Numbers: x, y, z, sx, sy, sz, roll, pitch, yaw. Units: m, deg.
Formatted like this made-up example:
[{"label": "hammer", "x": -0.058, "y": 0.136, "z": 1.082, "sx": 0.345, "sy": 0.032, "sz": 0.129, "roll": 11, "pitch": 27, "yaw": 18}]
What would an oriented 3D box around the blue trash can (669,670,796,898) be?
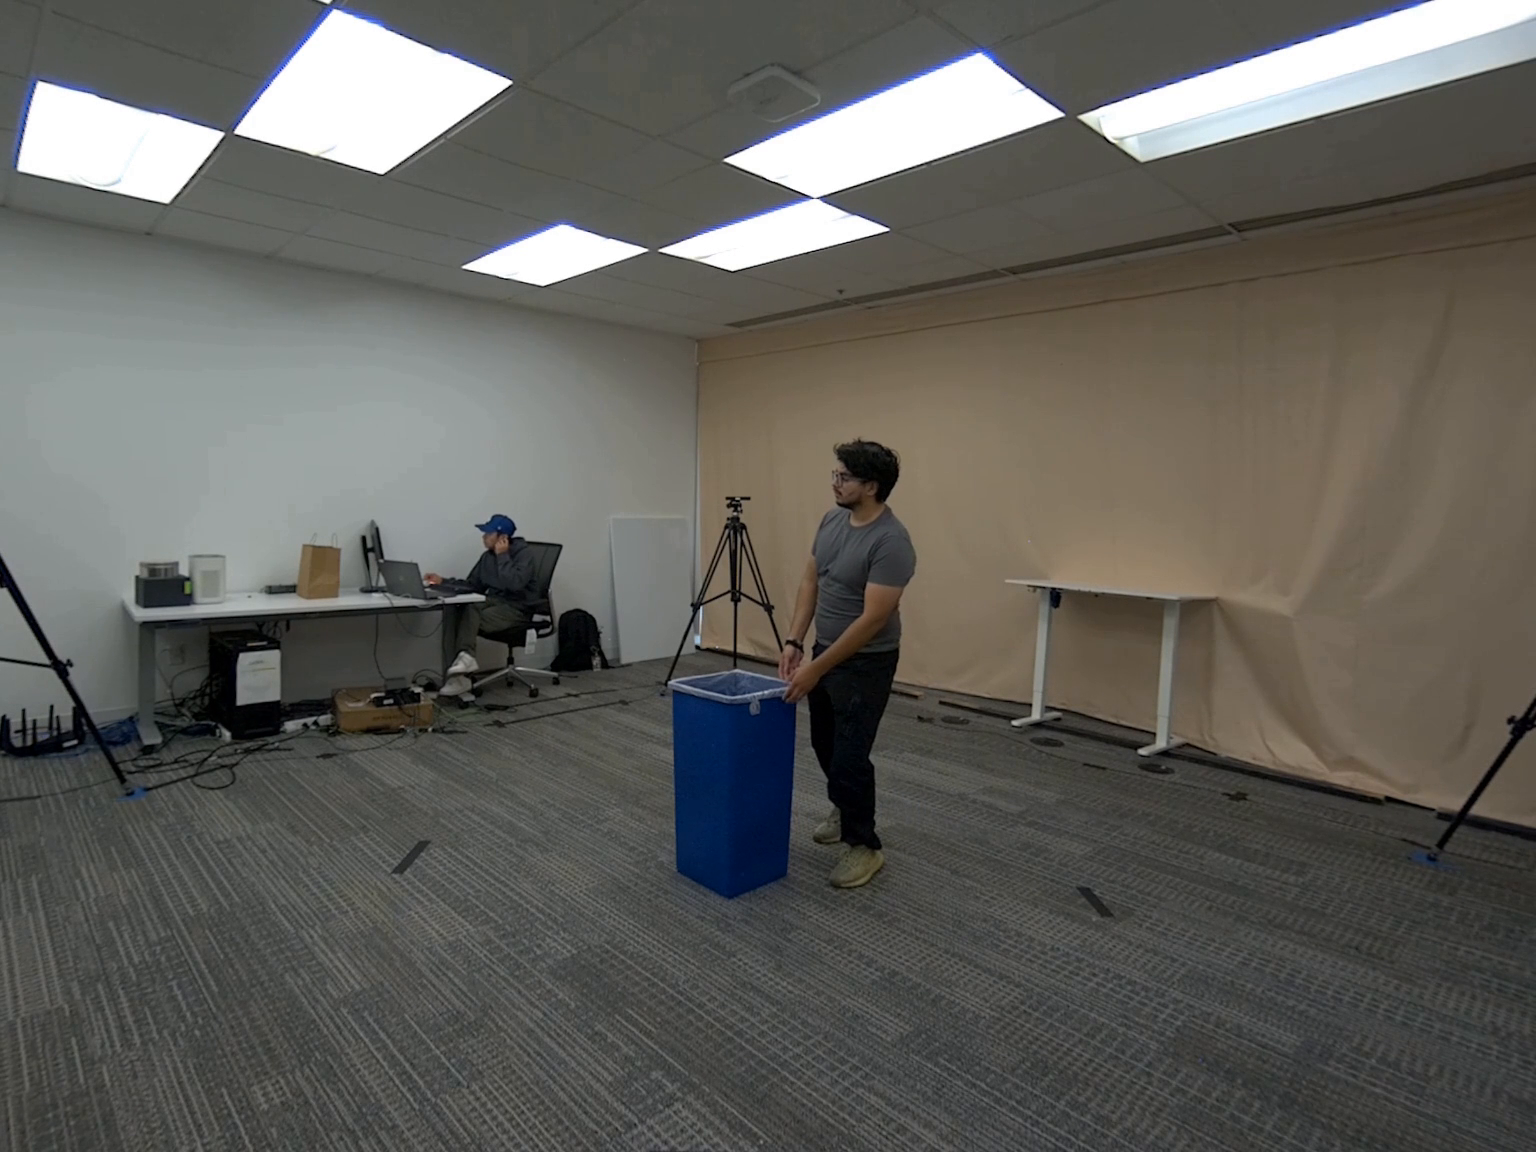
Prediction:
[{"label": "blue trash can", "x": -0.137, "y": 0.750, "z": 3.105, "sx": 0.387, "sy": 0.712, "sz": 0.365, "roll": 4, "pitch": 3, "yaw": 45}]
